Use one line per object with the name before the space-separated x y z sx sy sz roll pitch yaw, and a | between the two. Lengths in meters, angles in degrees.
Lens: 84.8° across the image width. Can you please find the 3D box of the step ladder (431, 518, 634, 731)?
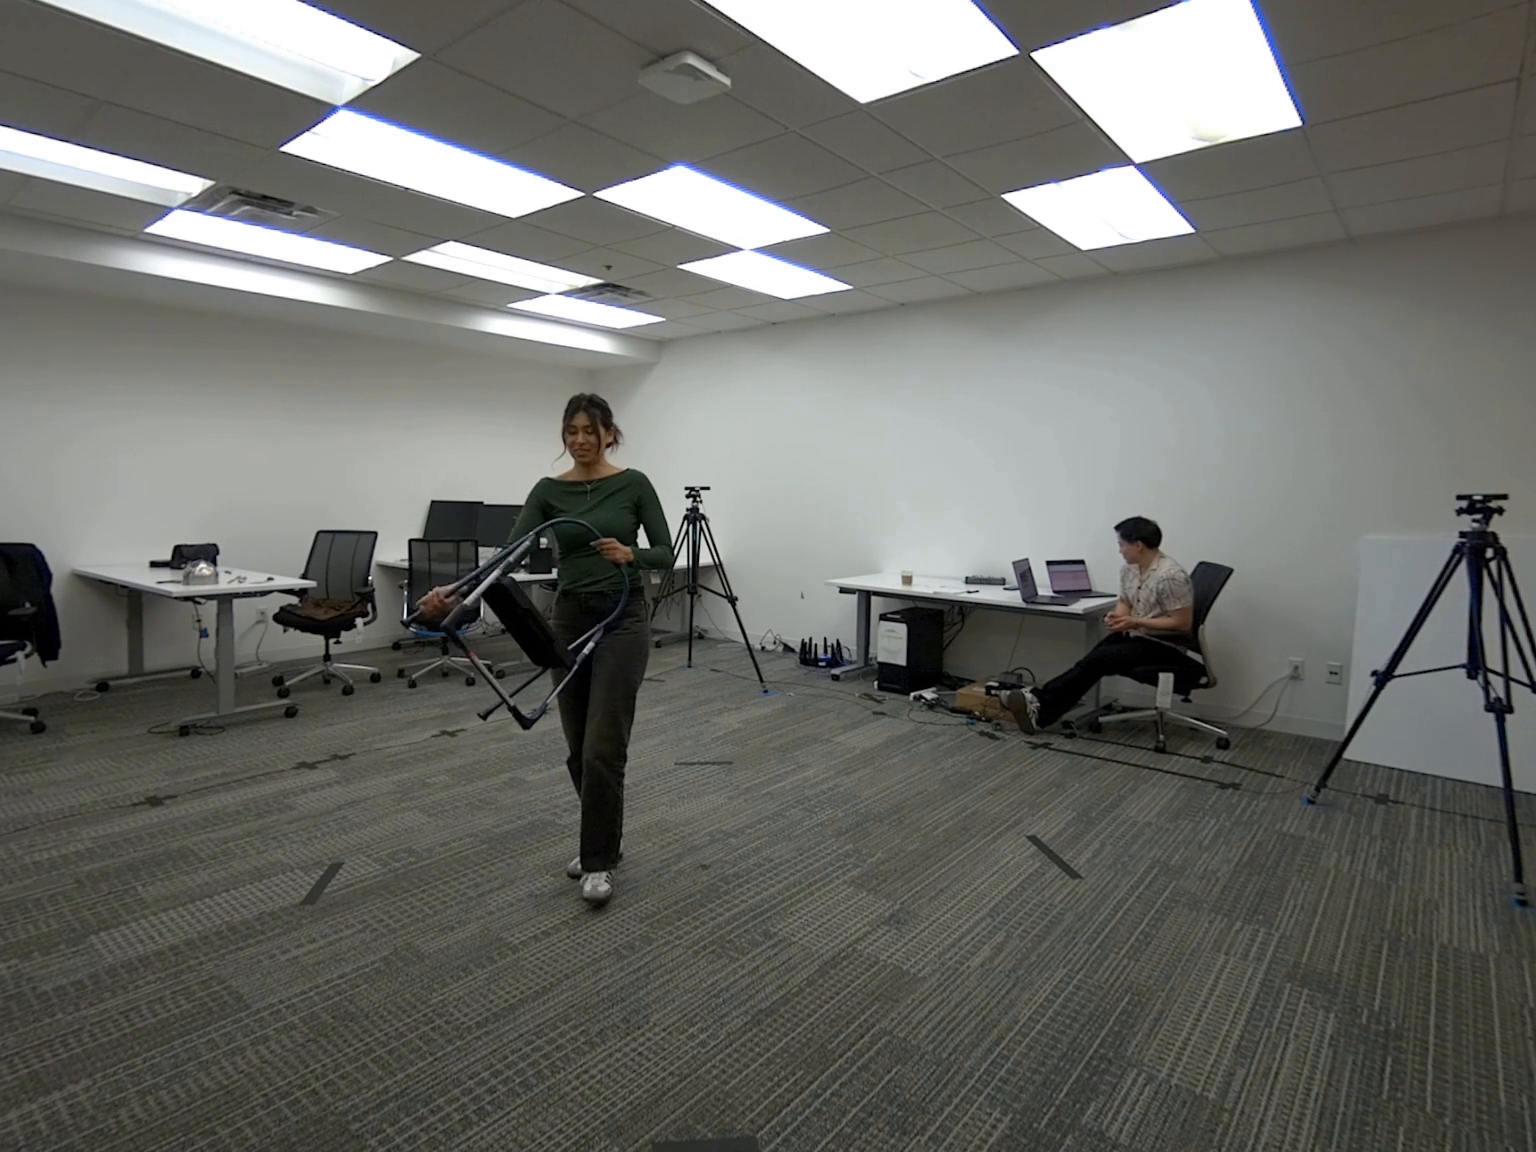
step ladder | -0.761 0.108 2.701 0.360 0.418 0.605 -1 38 50
